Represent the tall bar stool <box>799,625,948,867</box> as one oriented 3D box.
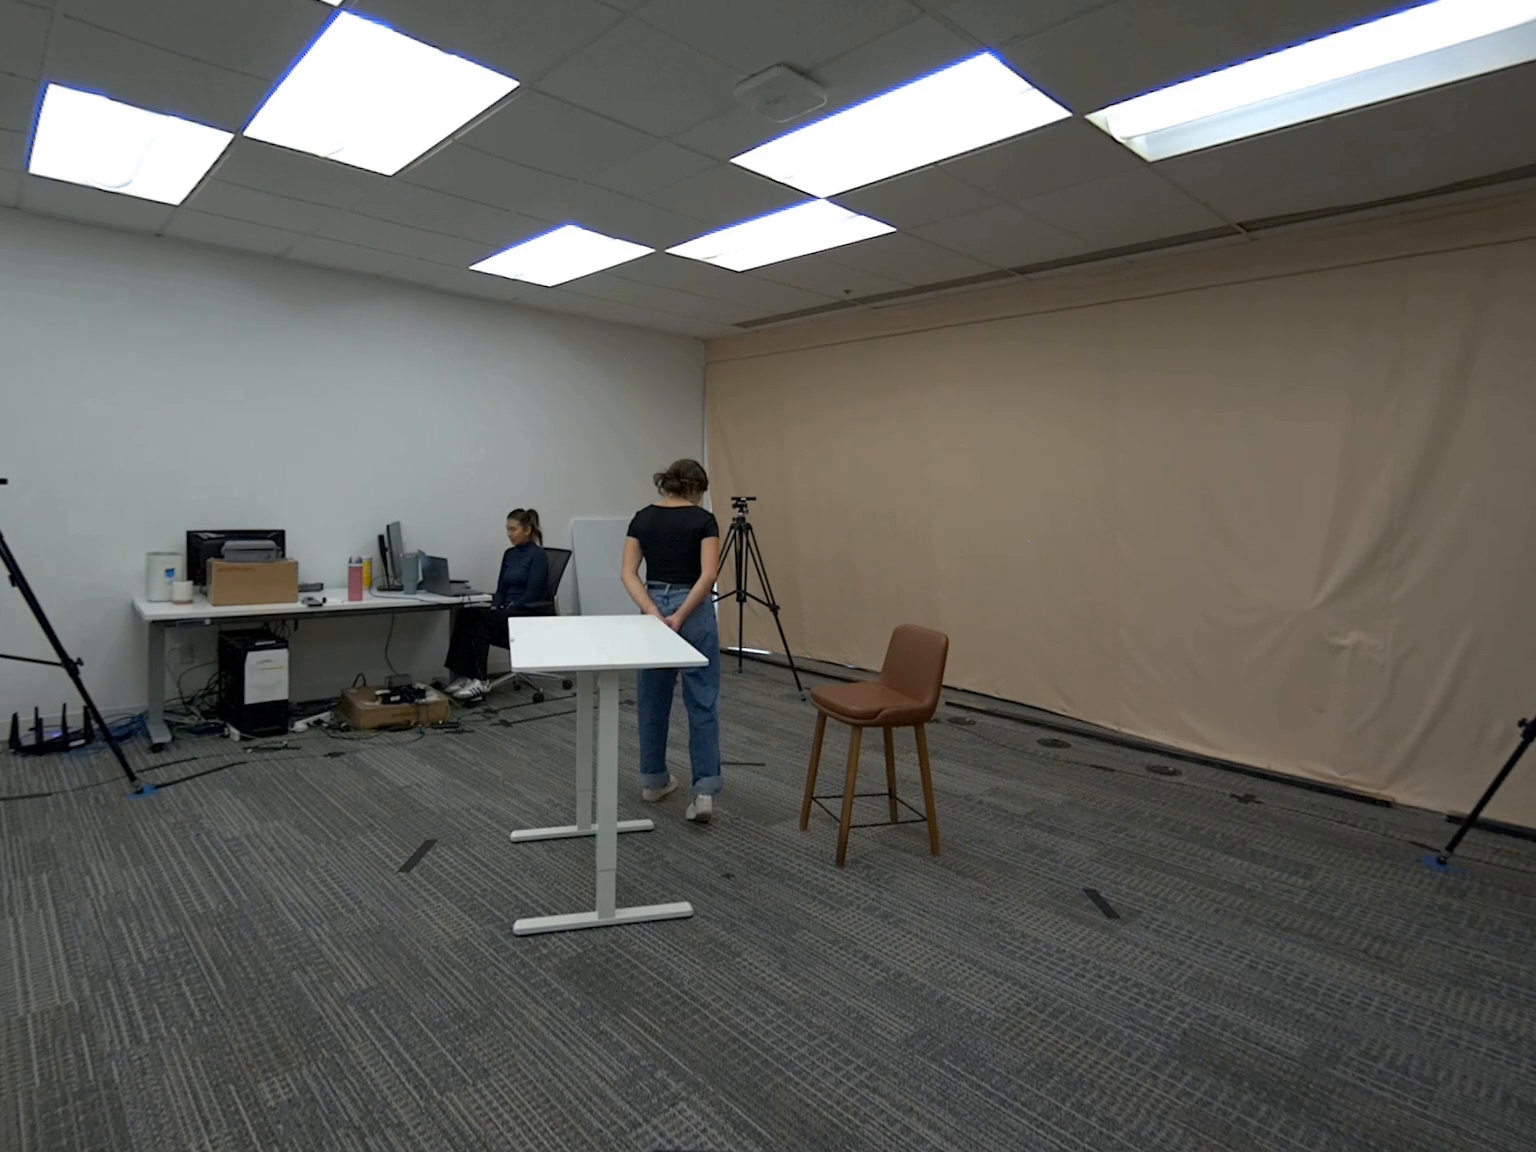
[{"bbox_3d":[0.418,0.658,3.426,0.461,0.888,0.464,2,3,-19],"label":"tall bar stool"}]
